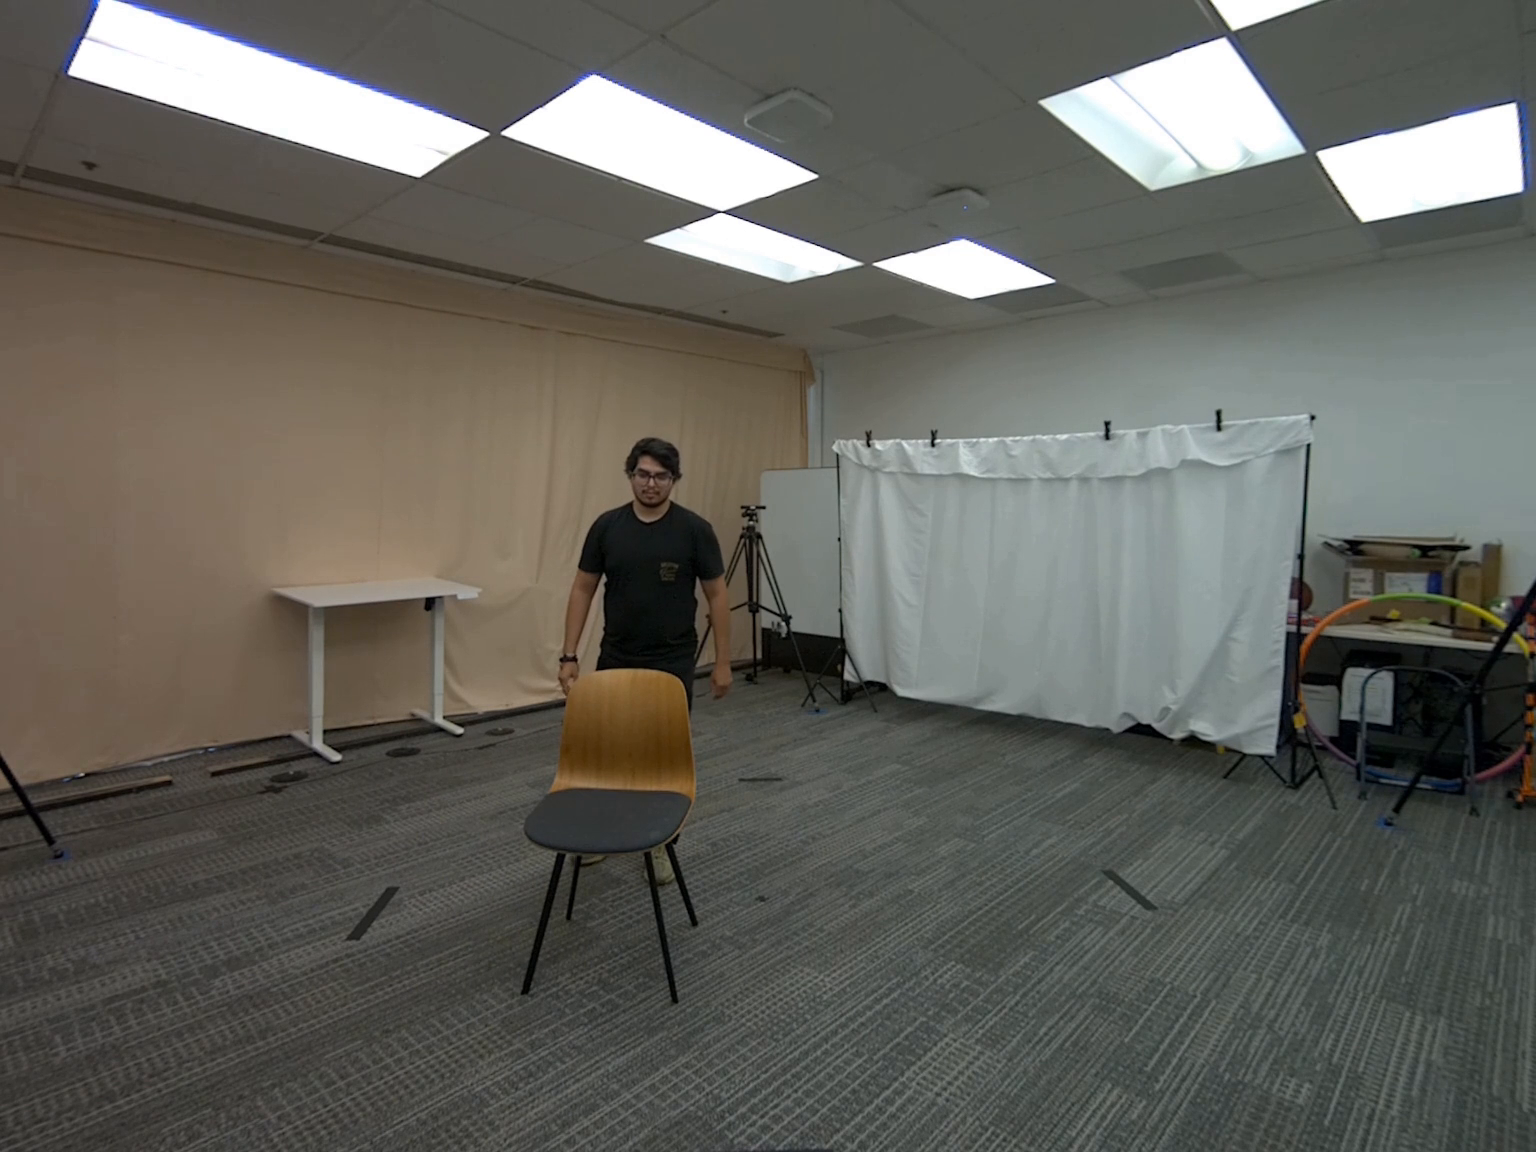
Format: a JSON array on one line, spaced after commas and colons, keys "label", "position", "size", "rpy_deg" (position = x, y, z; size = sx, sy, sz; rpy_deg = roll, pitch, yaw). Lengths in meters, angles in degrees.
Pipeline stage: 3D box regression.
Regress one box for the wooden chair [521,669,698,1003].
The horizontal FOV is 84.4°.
[{"label": "wooden chair", "position": [-0.458, 0.751, 2.566], "size": [0.481, 0.878, 0.520], "rpy_deg": [0, -1, 4]}]
